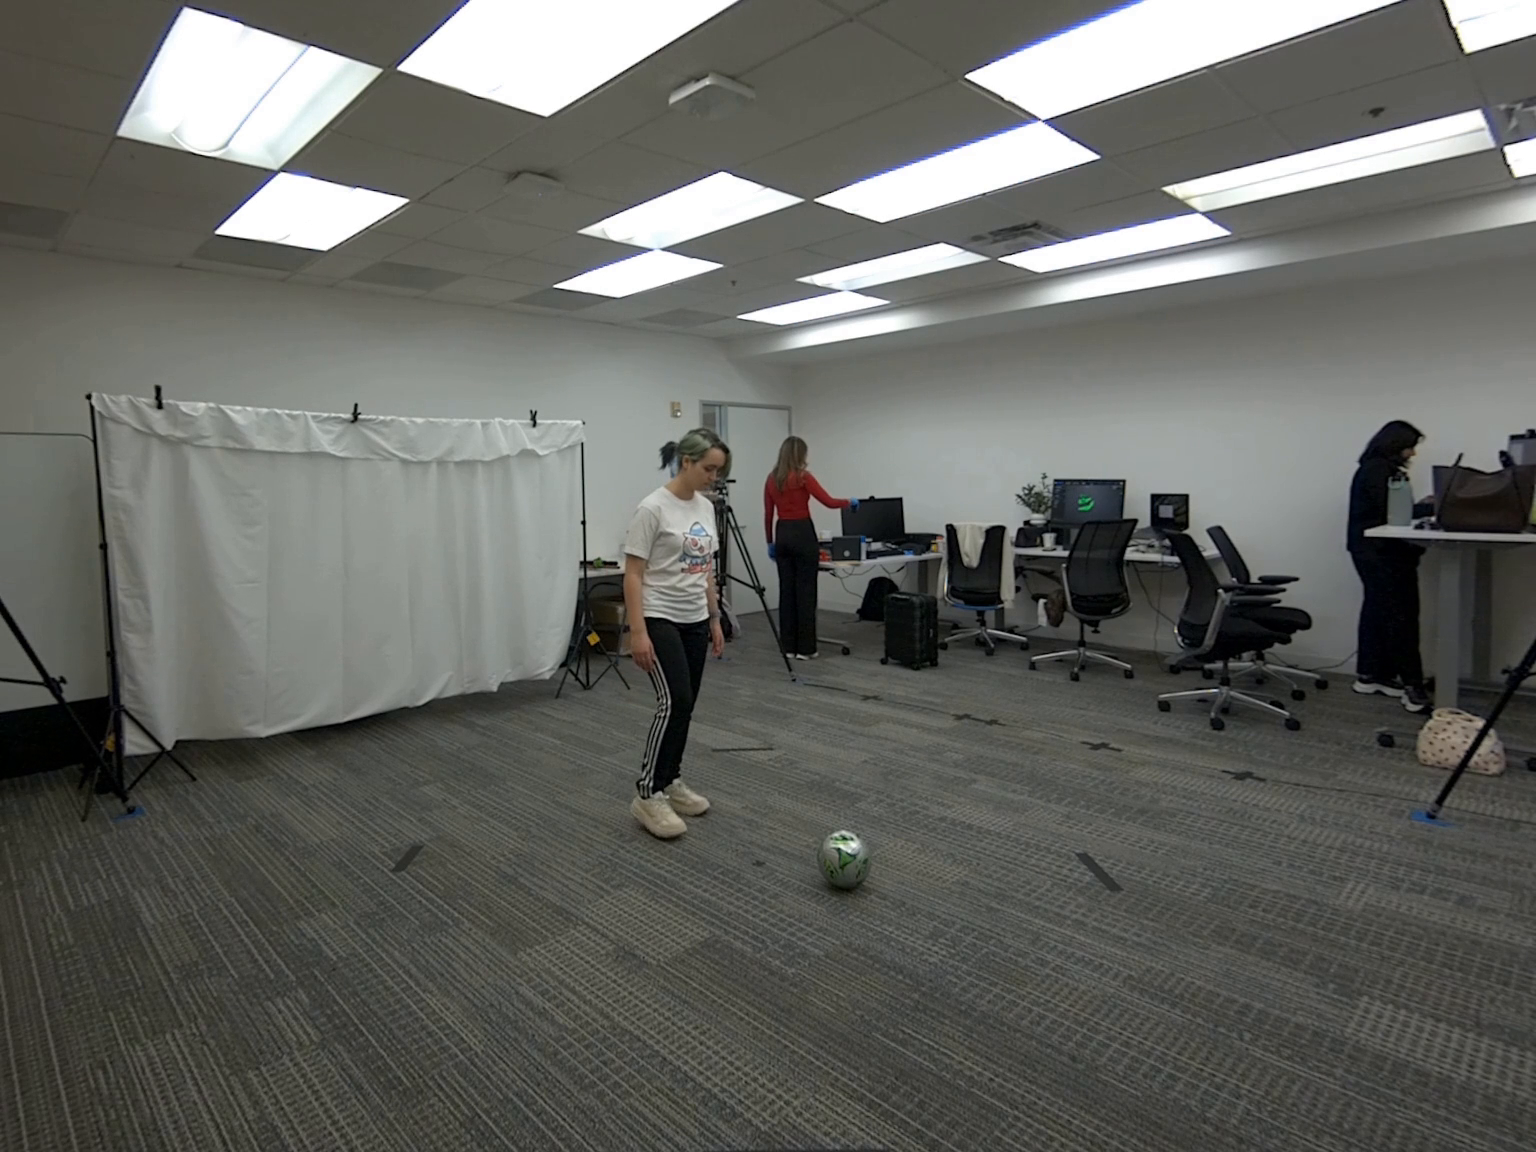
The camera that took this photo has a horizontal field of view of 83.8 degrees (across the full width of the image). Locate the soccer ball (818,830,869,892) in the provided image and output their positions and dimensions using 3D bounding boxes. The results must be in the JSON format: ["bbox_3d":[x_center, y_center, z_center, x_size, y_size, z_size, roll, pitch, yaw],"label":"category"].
[{"bbox_3d":[0.262,0.969,2.919,0.187,0.187,0.188,-1,5,-2],"label":"soccer ball"}]
